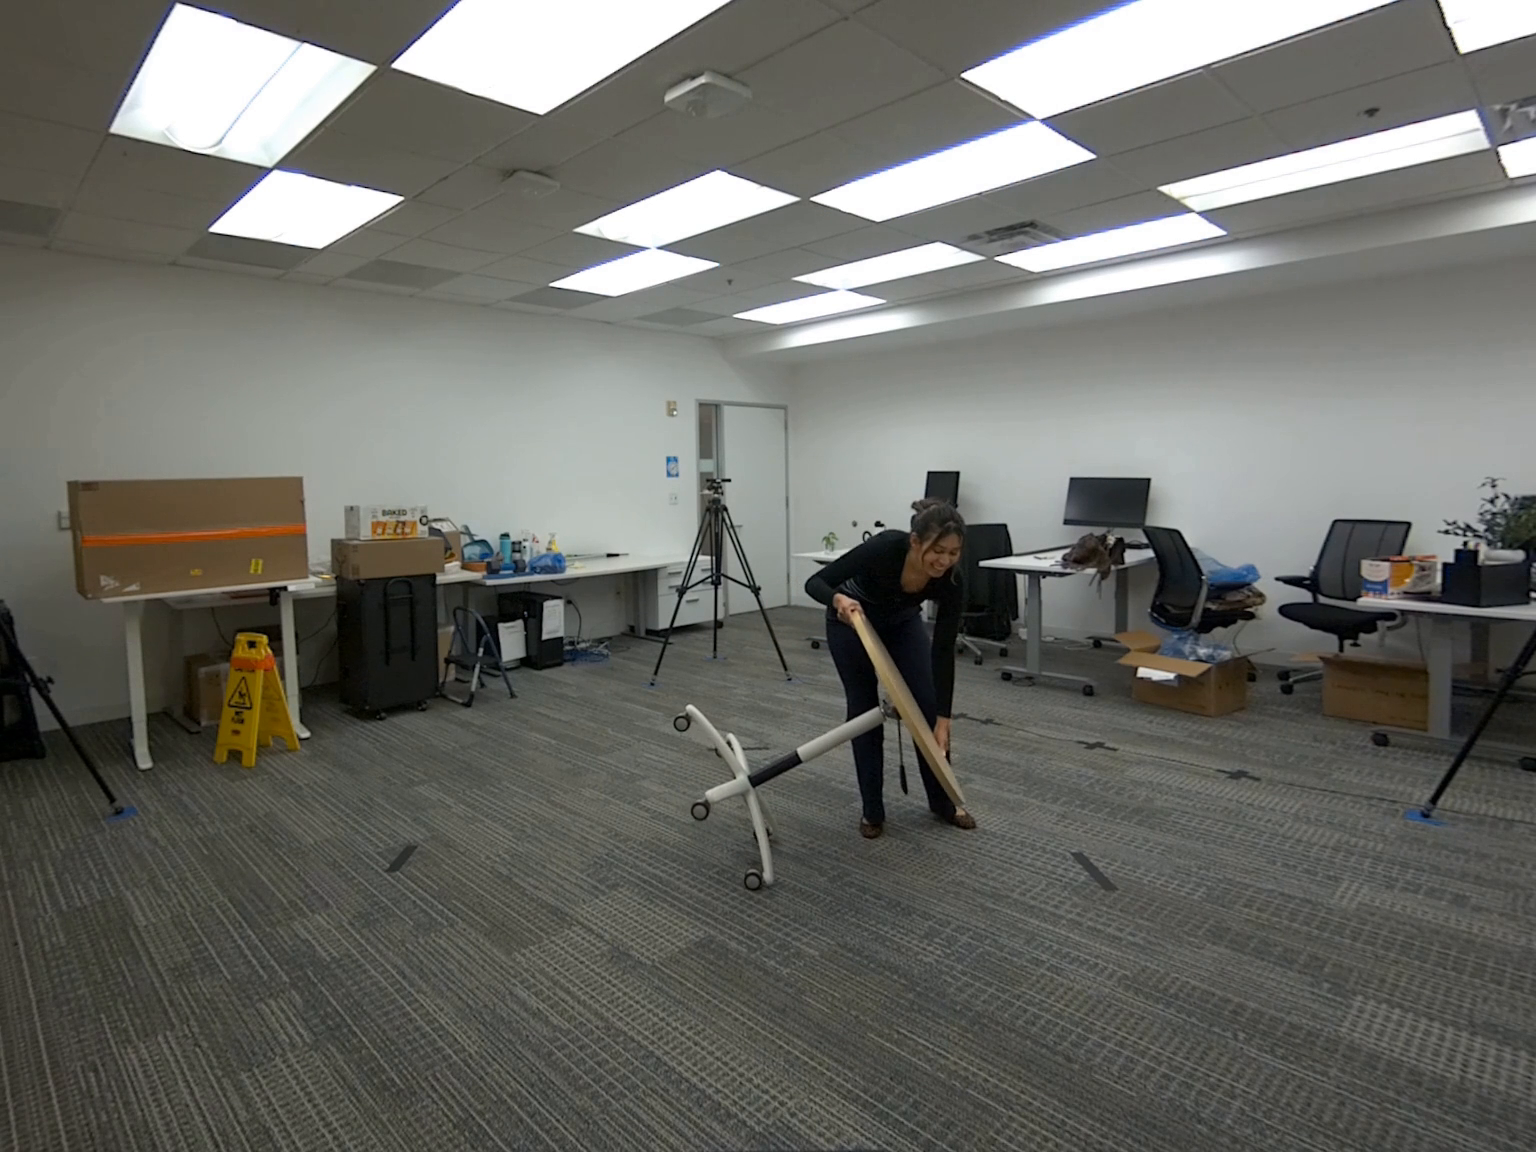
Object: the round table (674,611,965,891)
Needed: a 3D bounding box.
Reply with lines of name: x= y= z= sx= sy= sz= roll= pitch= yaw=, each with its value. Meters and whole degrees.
round table: x=0.153 y=0.622 z=3.065 sx=0.796 sy=0.764 sz=0.762 roll=-30 pitch=1 yaw=8
